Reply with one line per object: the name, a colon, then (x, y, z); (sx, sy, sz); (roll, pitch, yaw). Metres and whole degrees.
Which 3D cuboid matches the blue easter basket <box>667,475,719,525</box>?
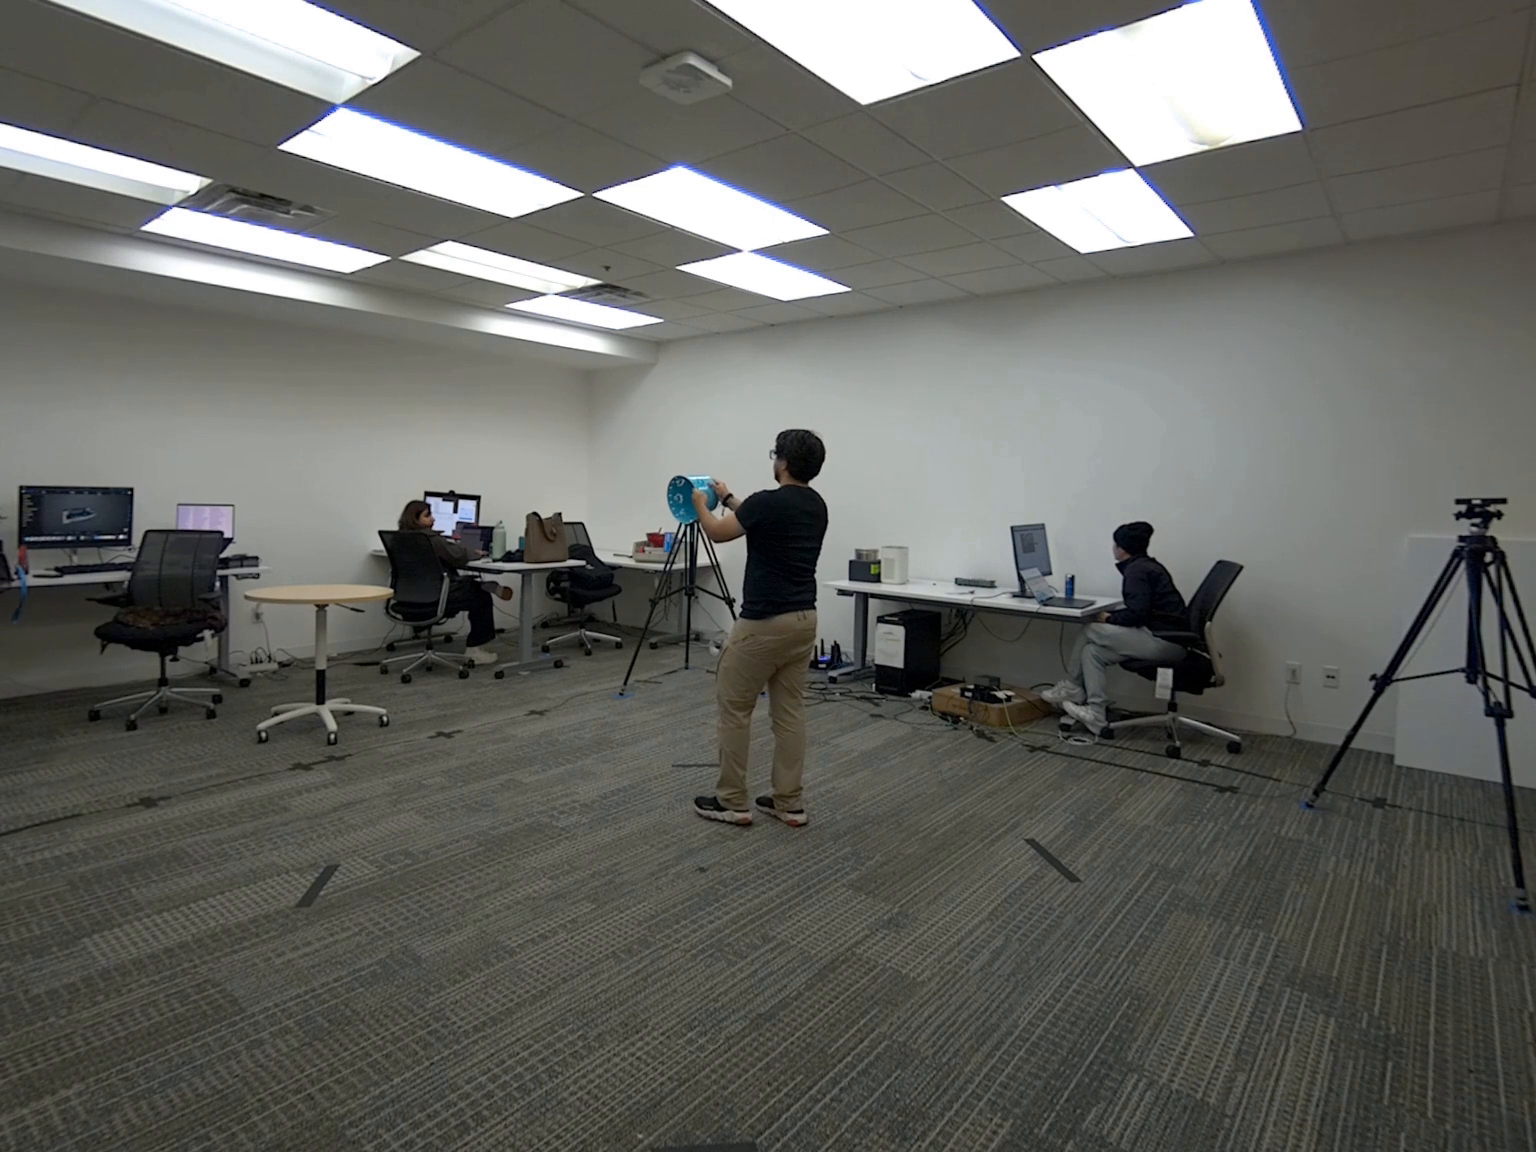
blue easter basket: (-0.371, -0.375, 4.032); (0.252, 0.241, 0.152); (5, 15, 45)
